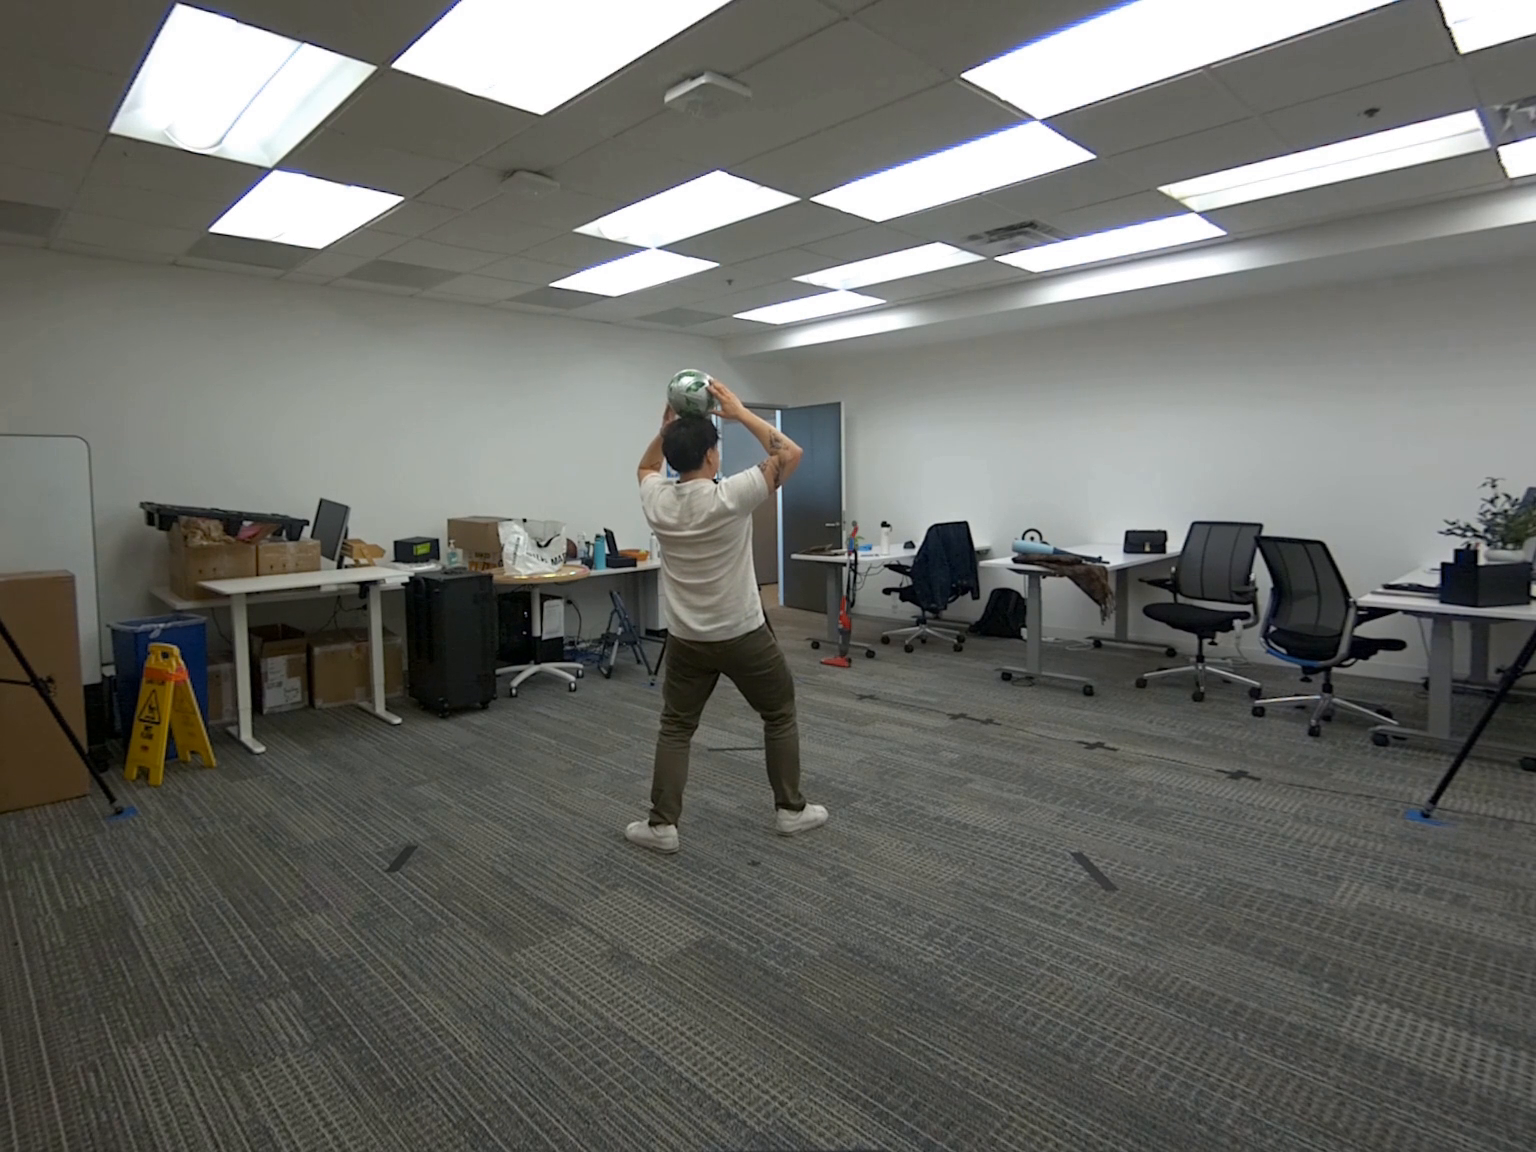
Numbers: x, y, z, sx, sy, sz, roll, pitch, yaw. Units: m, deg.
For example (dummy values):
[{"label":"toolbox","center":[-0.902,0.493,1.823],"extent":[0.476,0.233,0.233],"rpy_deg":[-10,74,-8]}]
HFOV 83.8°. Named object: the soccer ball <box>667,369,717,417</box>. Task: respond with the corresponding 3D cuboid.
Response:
[{"label":"soccer ball","center":[-0.284,-0.669,3.155],"extent":[0.187,0.187,0.188],"rpy_deg":[-1,5,-2]}]
